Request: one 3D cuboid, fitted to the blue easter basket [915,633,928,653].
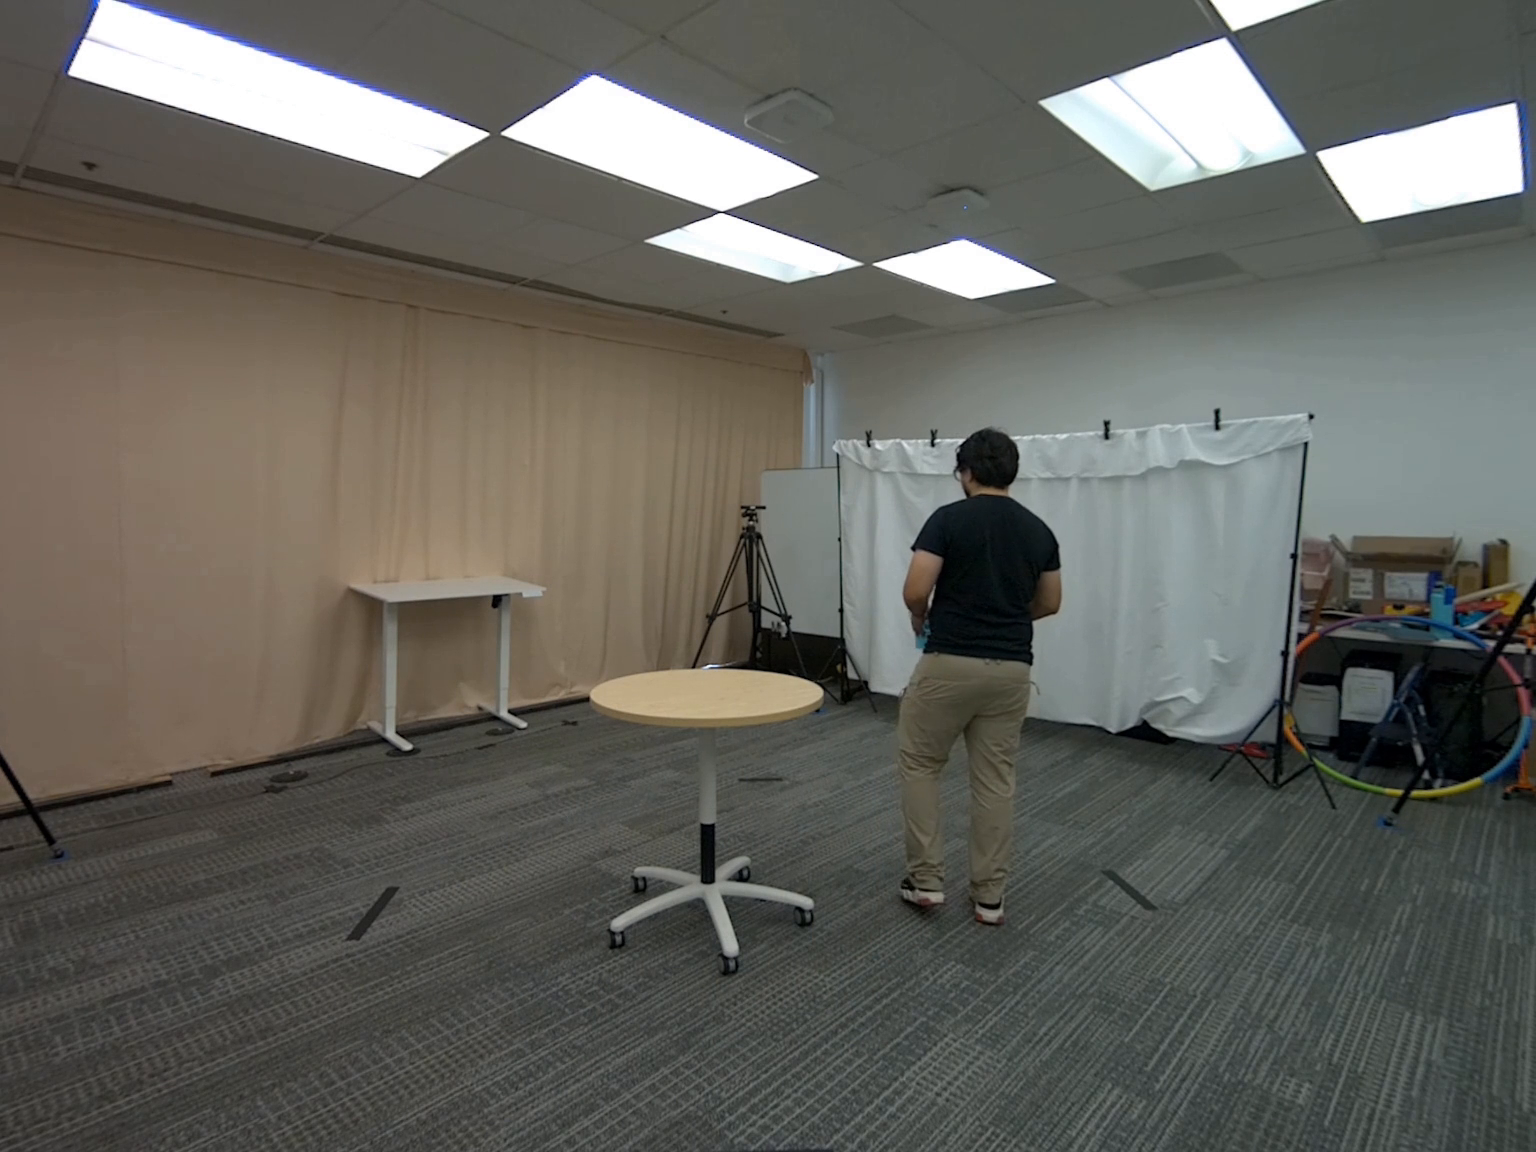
[{"bbox_3d":[0.686,0.210,3.183,0.243,0.156,0.244,5,1,-2],"label":"blue easter basket"}]
